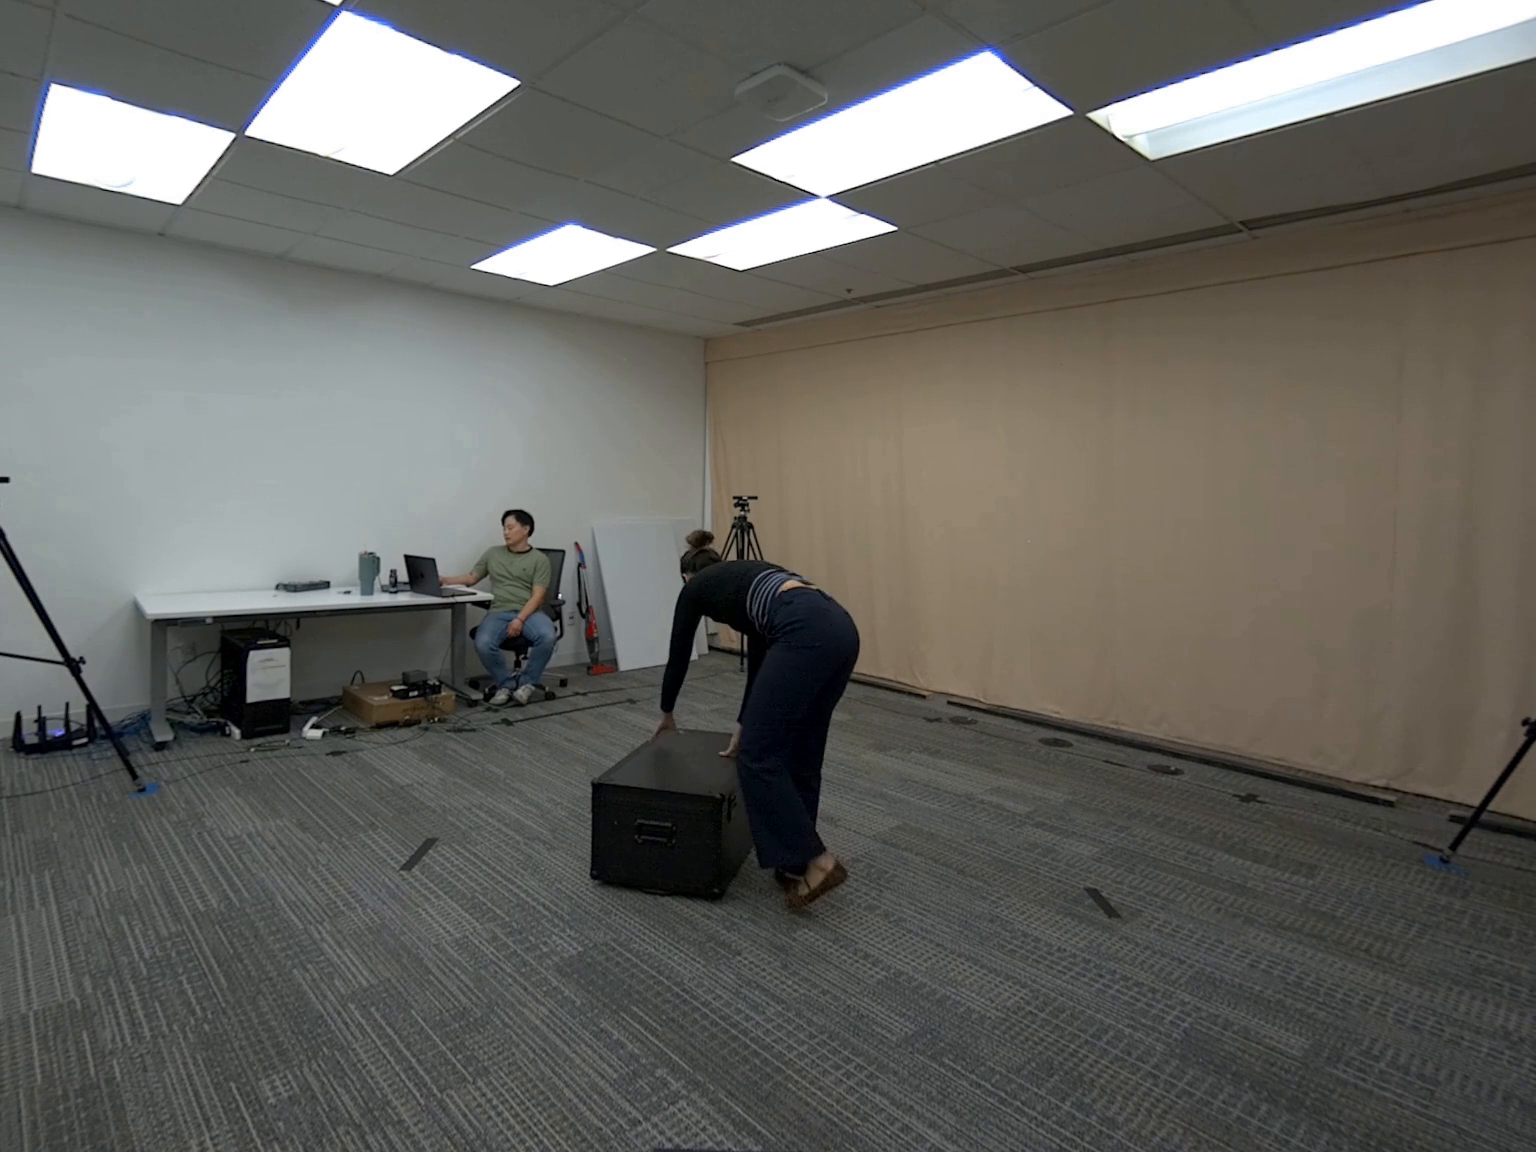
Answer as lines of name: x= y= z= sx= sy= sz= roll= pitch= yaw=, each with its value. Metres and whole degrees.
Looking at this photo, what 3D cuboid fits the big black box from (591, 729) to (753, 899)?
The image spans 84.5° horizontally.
big black box: x=-0.302 y=0.885 z=3.323 sx=0.527 sy=0.395 sz=0.855 roll=3 pitch=6 yaw=13
